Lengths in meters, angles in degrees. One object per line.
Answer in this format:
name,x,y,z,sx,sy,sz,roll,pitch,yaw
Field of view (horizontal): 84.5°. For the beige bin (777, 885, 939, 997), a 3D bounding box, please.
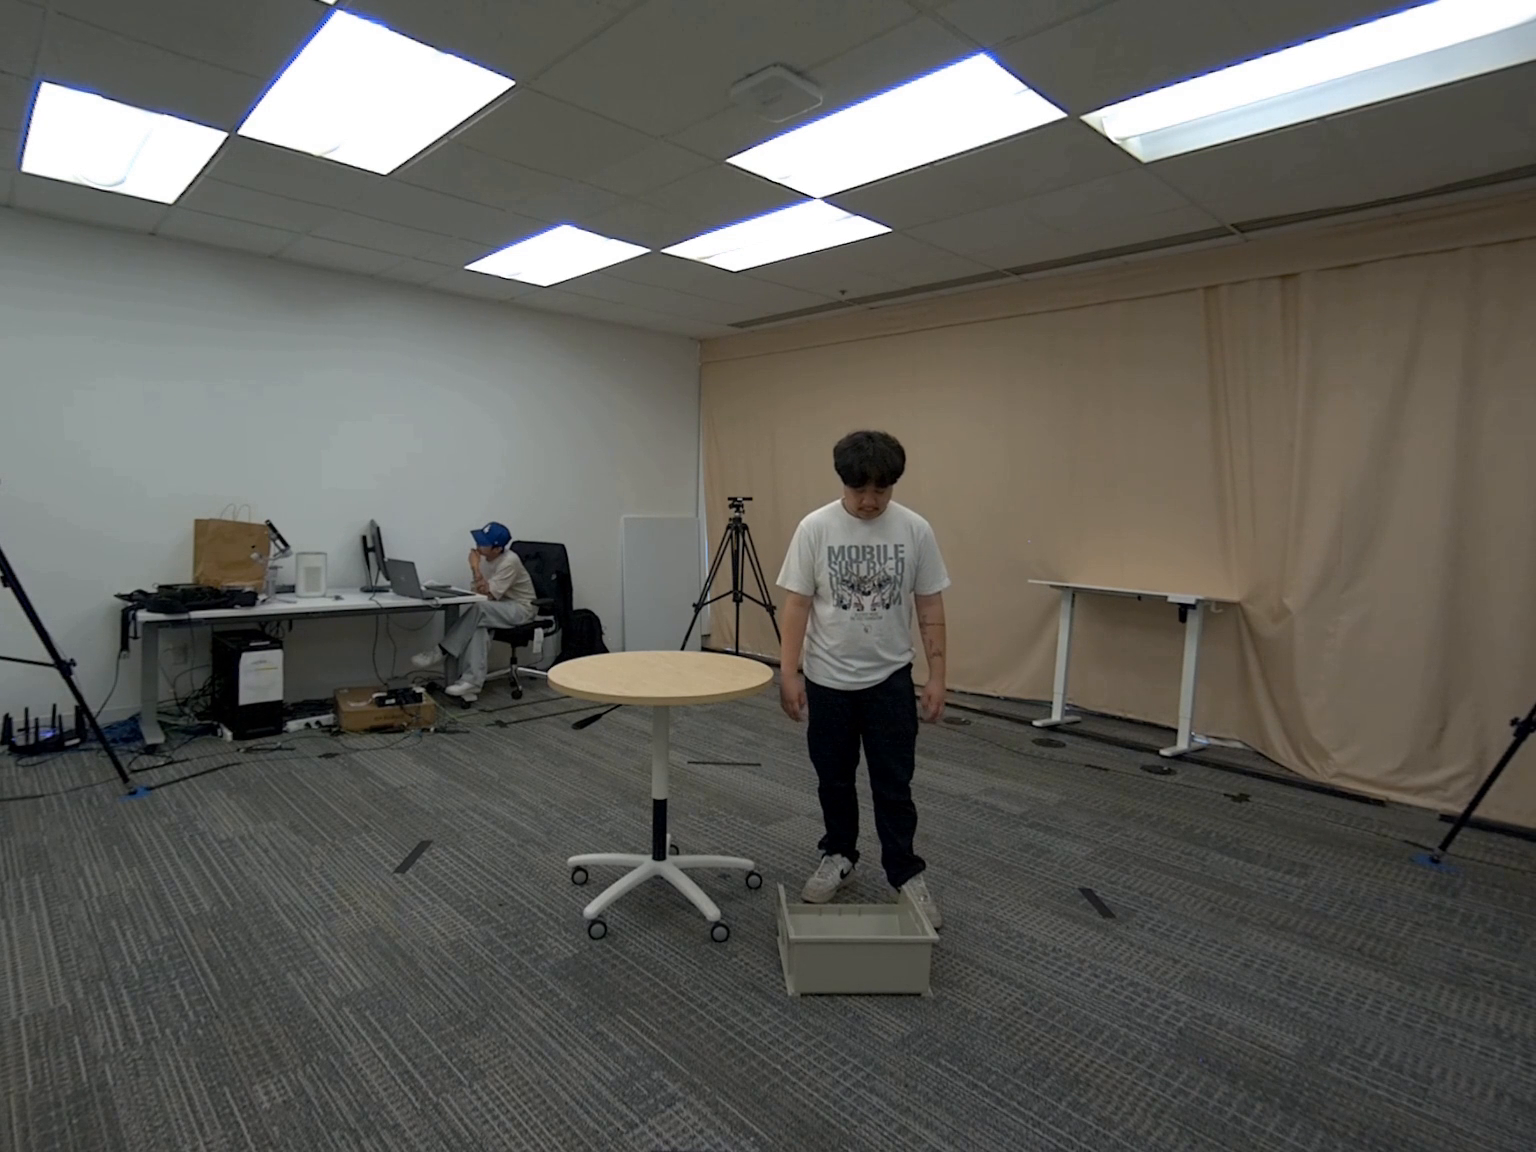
beige bin,0.245,1.086,2.528,0.421,0.188,0.380,2,5,-4
